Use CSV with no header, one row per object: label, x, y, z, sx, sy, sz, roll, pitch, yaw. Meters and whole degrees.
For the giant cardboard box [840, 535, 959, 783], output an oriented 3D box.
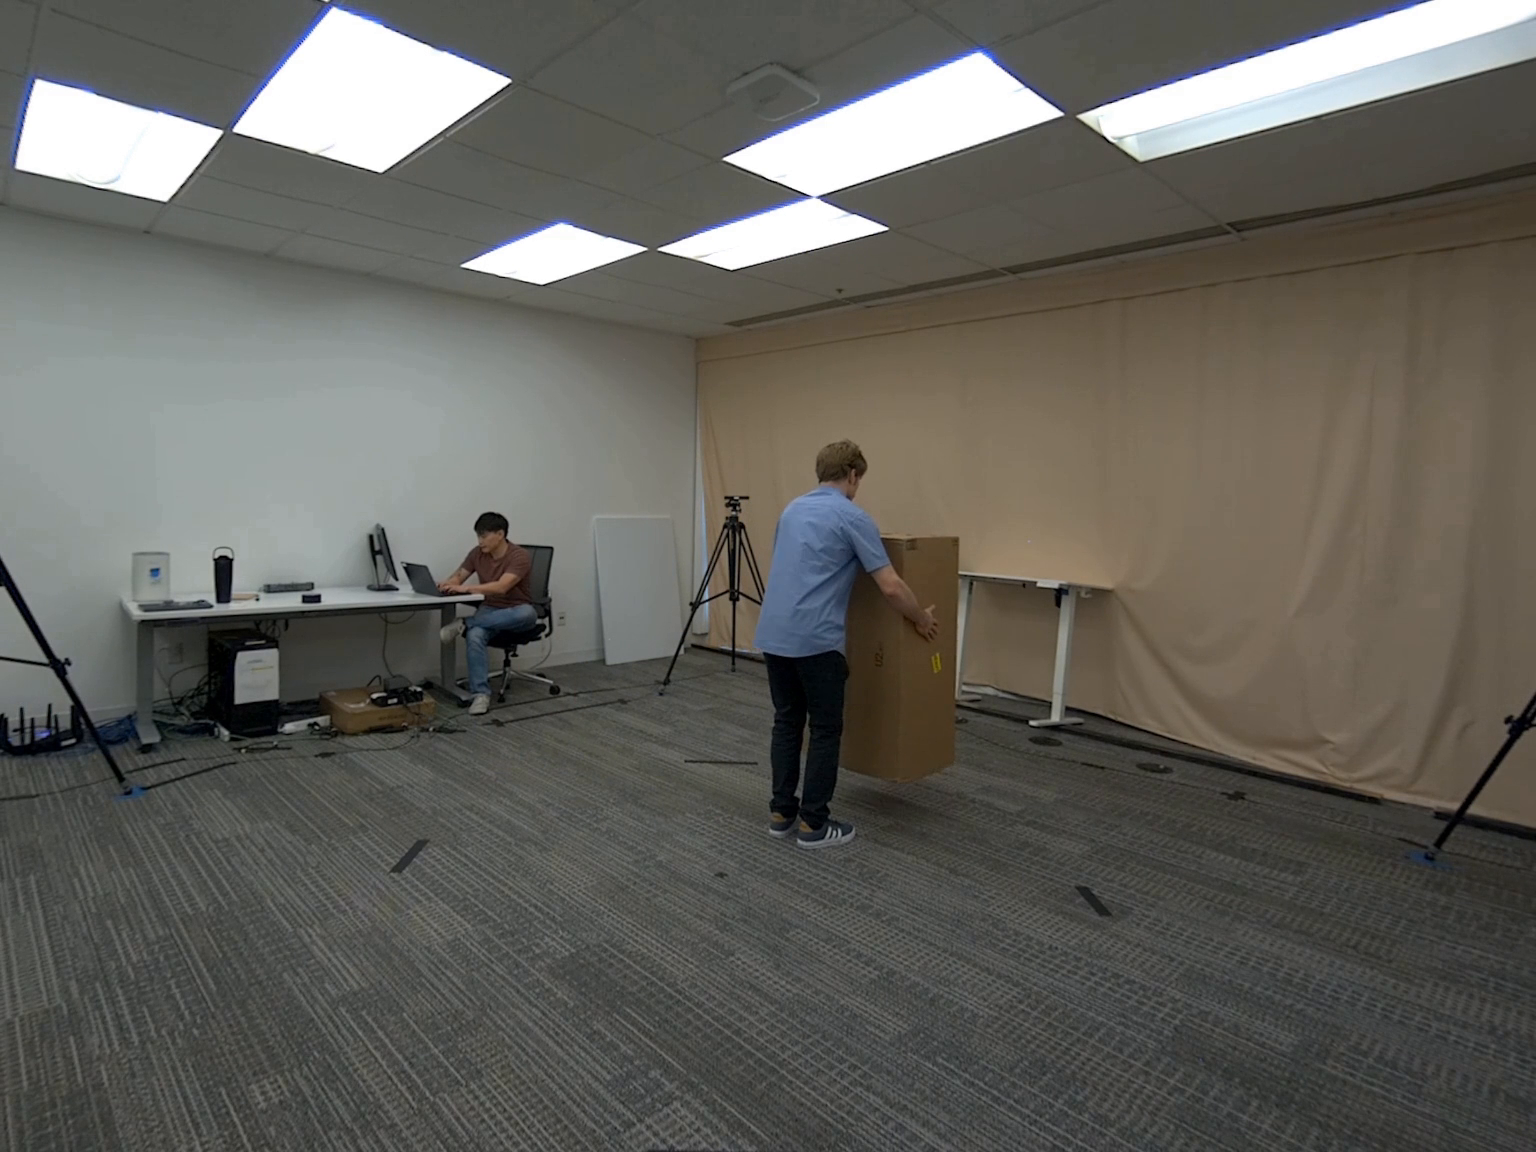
giant cardboard box,0.488,0.330,3.800,0.416,1.024,0.592,-2,4,-44
